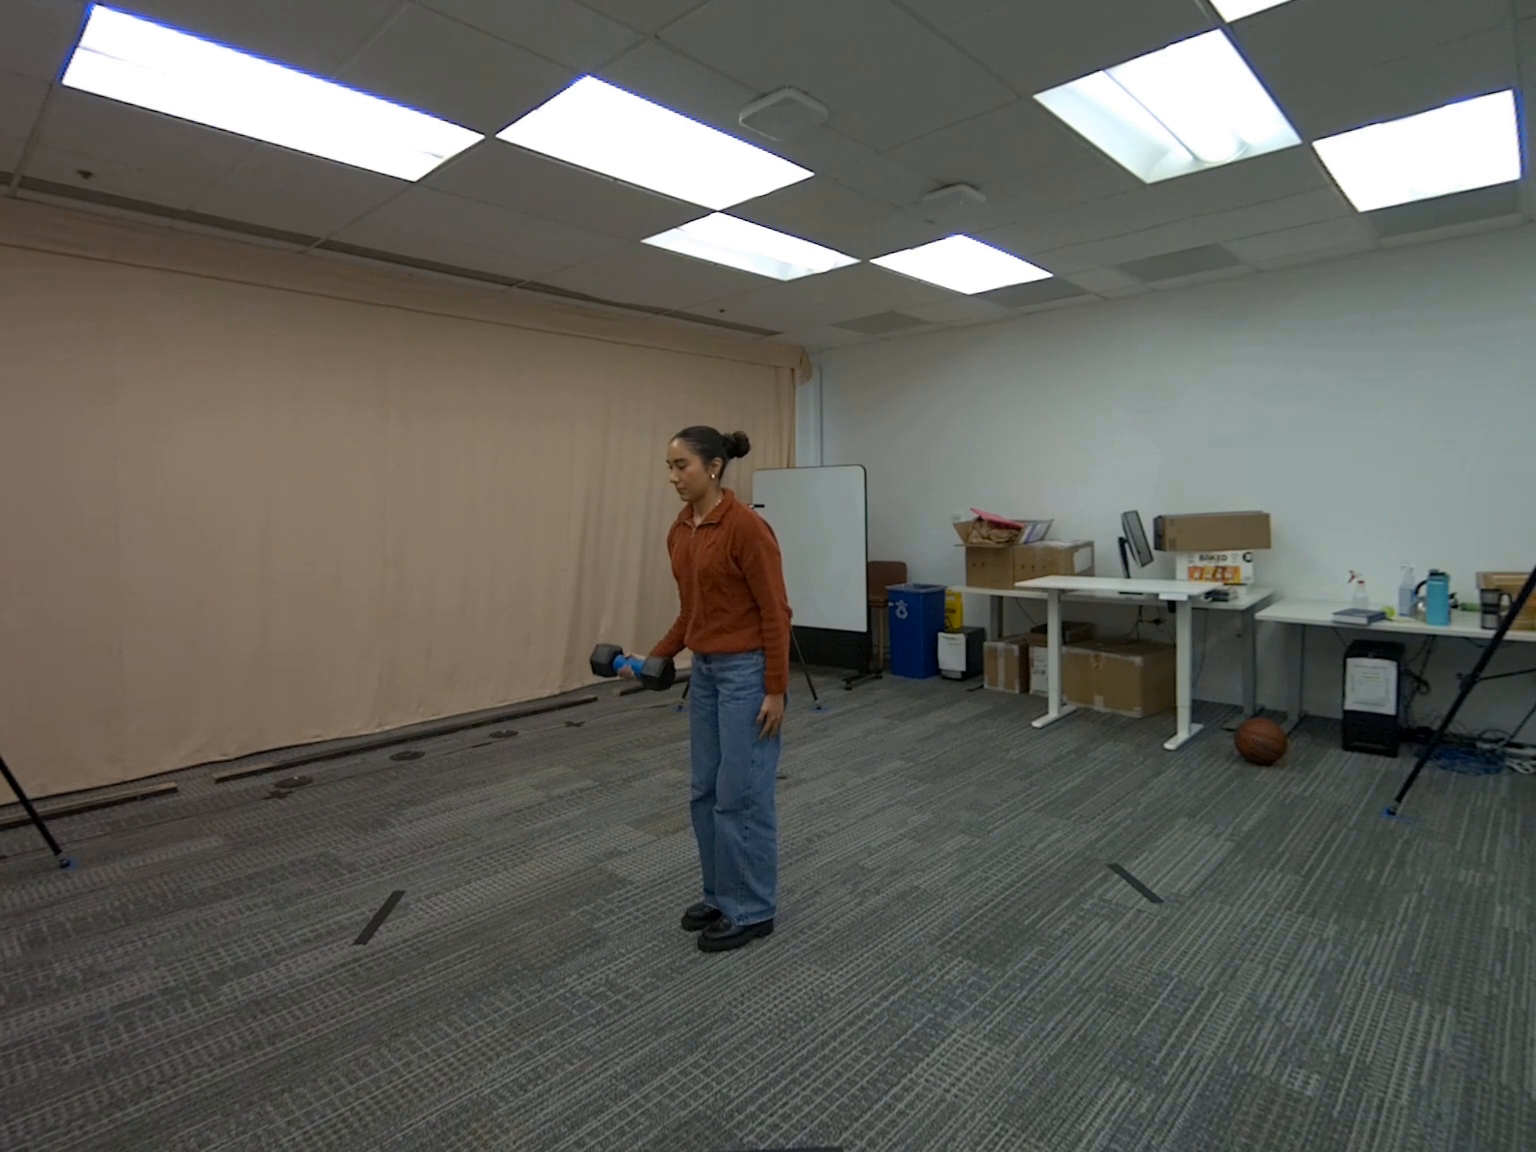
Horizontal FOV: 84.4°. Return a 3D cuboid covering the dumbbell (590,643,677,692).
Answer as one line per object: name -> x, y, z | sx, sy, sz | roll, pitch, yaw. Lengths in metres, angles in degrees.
dumbbell -> -0.449, 0.312, 2.831 | 0.302, 0.123, 0.105 | 10, -24, 26
